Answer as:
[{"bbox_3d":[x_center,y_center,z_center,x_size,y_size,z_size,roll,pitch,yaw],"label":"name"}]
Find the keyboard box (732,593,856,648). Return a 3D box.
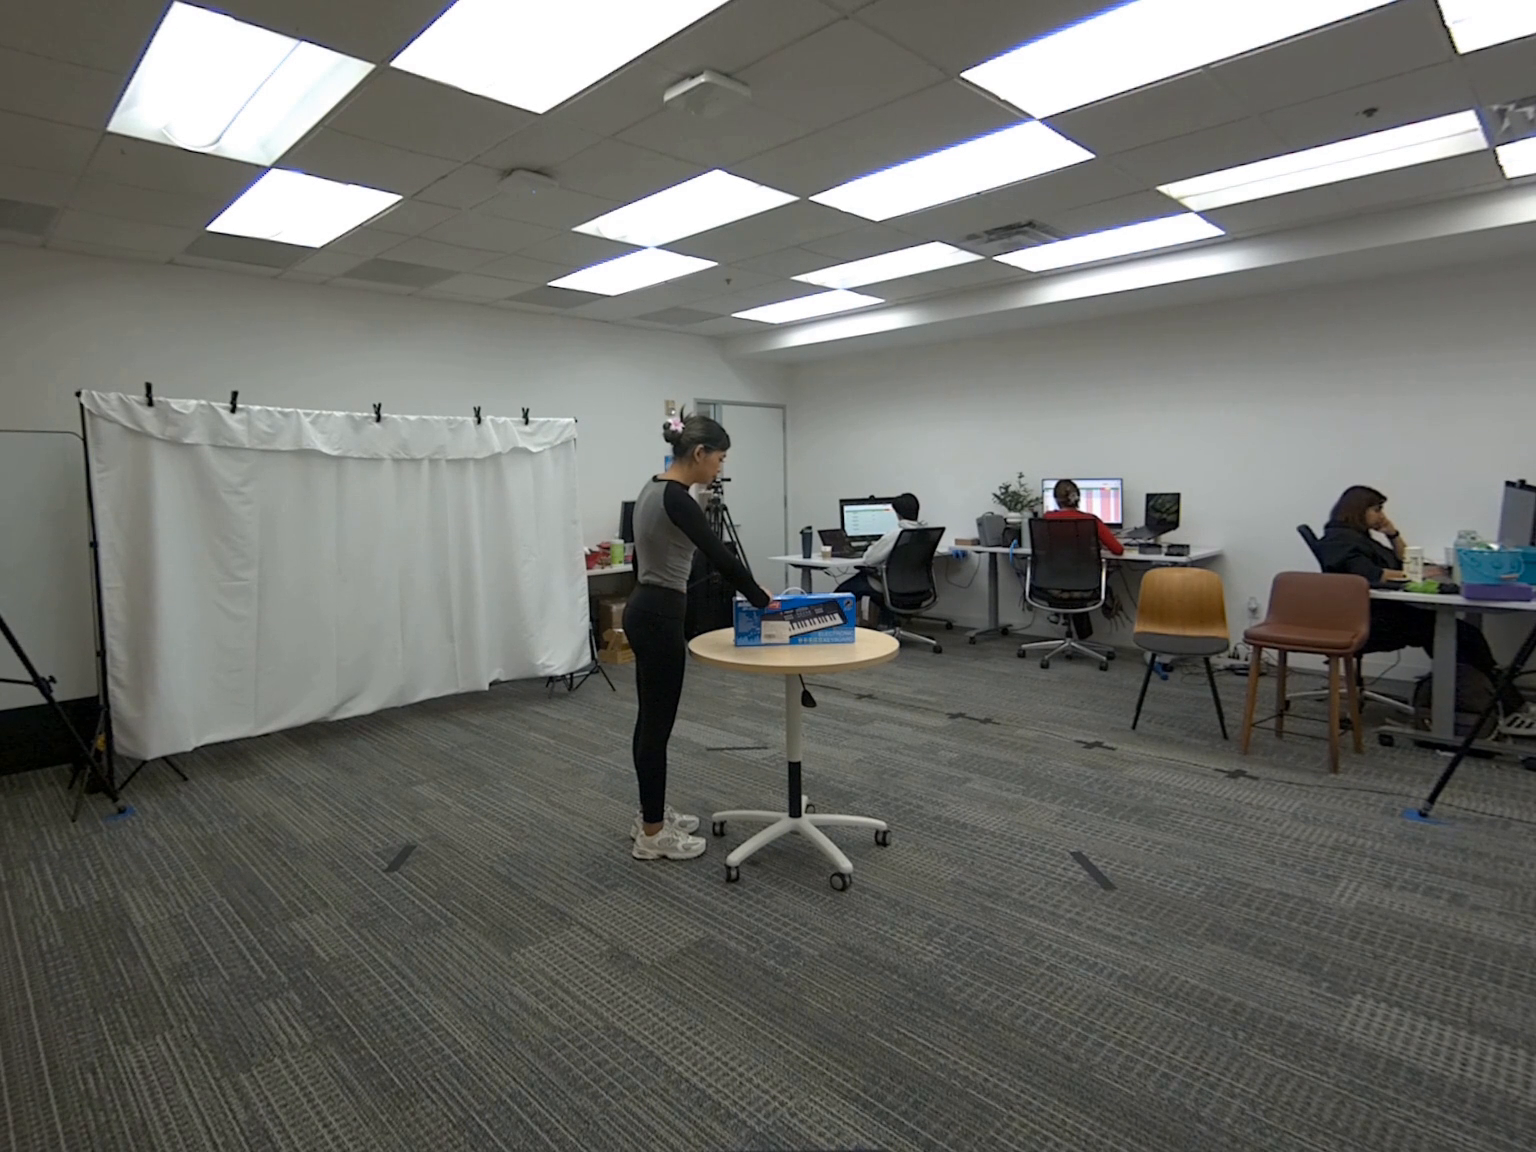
[{"bbox_3d":[0.095,0.158,3.098,0.436,0.175,0.059,-1,6,-2],"label":"keyboard box"}]
